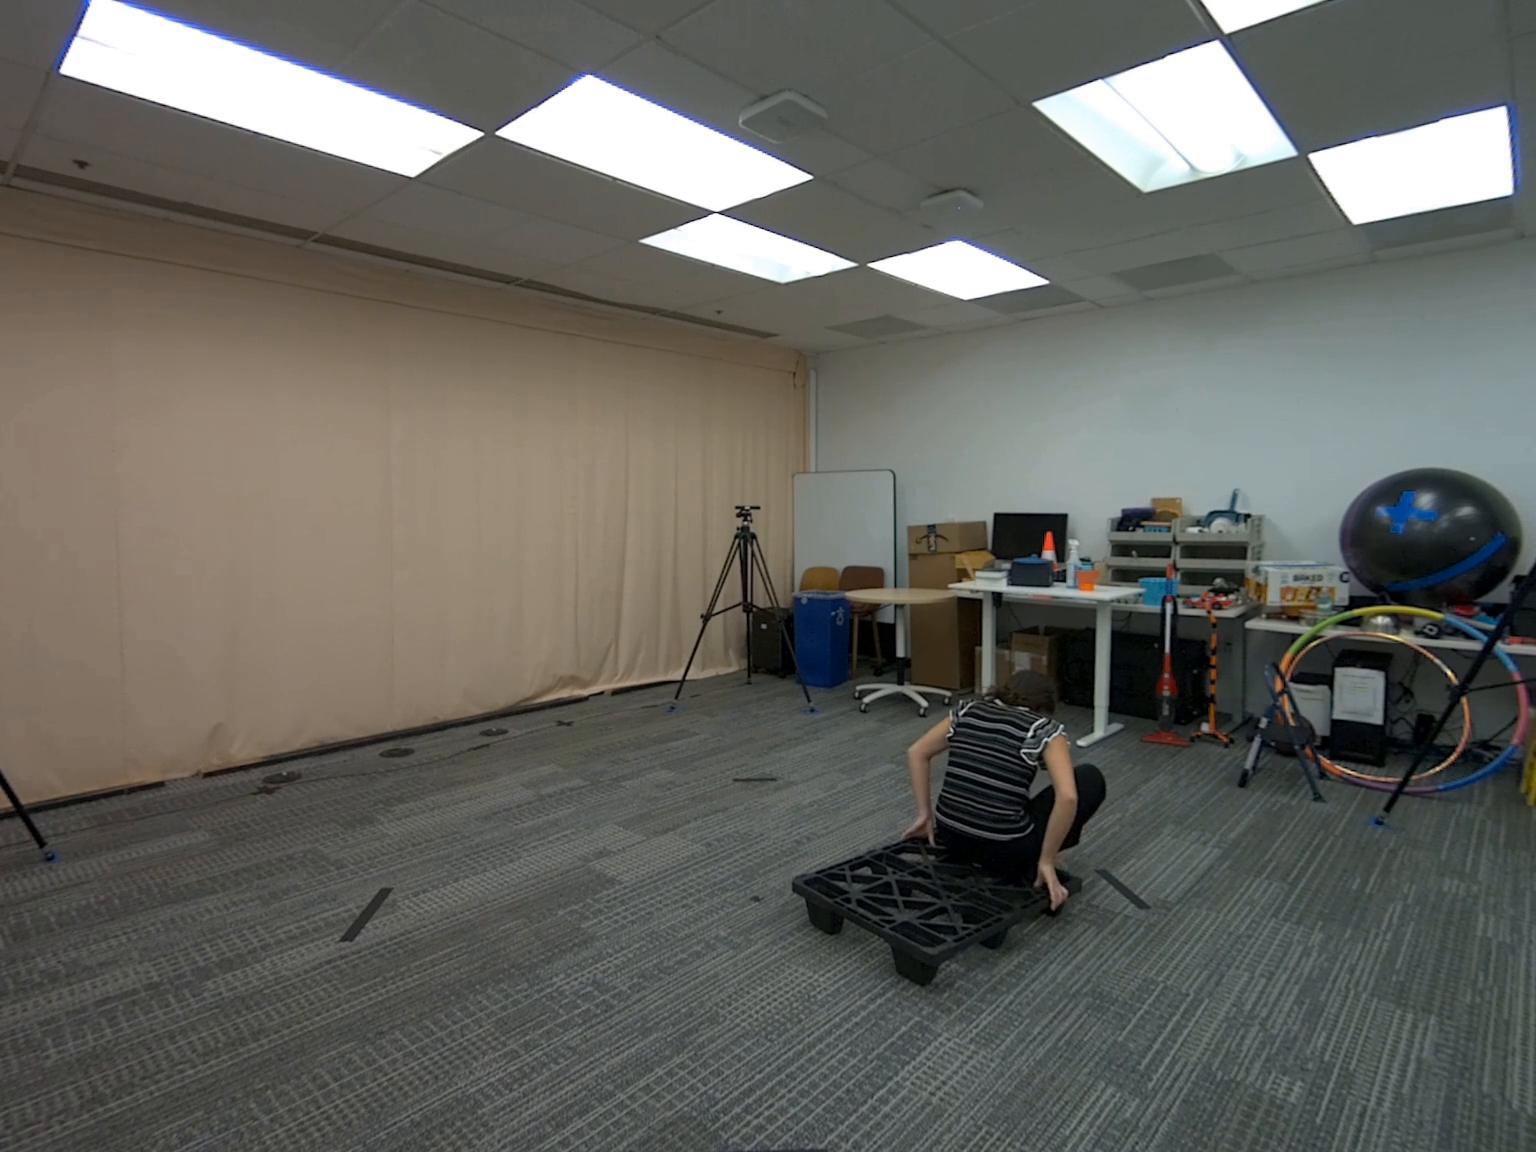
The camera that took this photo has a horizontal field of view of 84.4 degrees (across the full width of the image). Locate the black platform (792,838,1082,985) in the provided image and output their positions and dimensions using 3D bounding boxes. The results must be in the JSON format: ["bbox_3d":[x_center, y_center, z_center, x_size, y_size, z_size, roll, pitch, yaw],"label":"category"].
[{"bbox_3d":[0.577,1.086,2.832,0.781,0.143,0.625,-4,7,-39],"label":"black platform"}]
